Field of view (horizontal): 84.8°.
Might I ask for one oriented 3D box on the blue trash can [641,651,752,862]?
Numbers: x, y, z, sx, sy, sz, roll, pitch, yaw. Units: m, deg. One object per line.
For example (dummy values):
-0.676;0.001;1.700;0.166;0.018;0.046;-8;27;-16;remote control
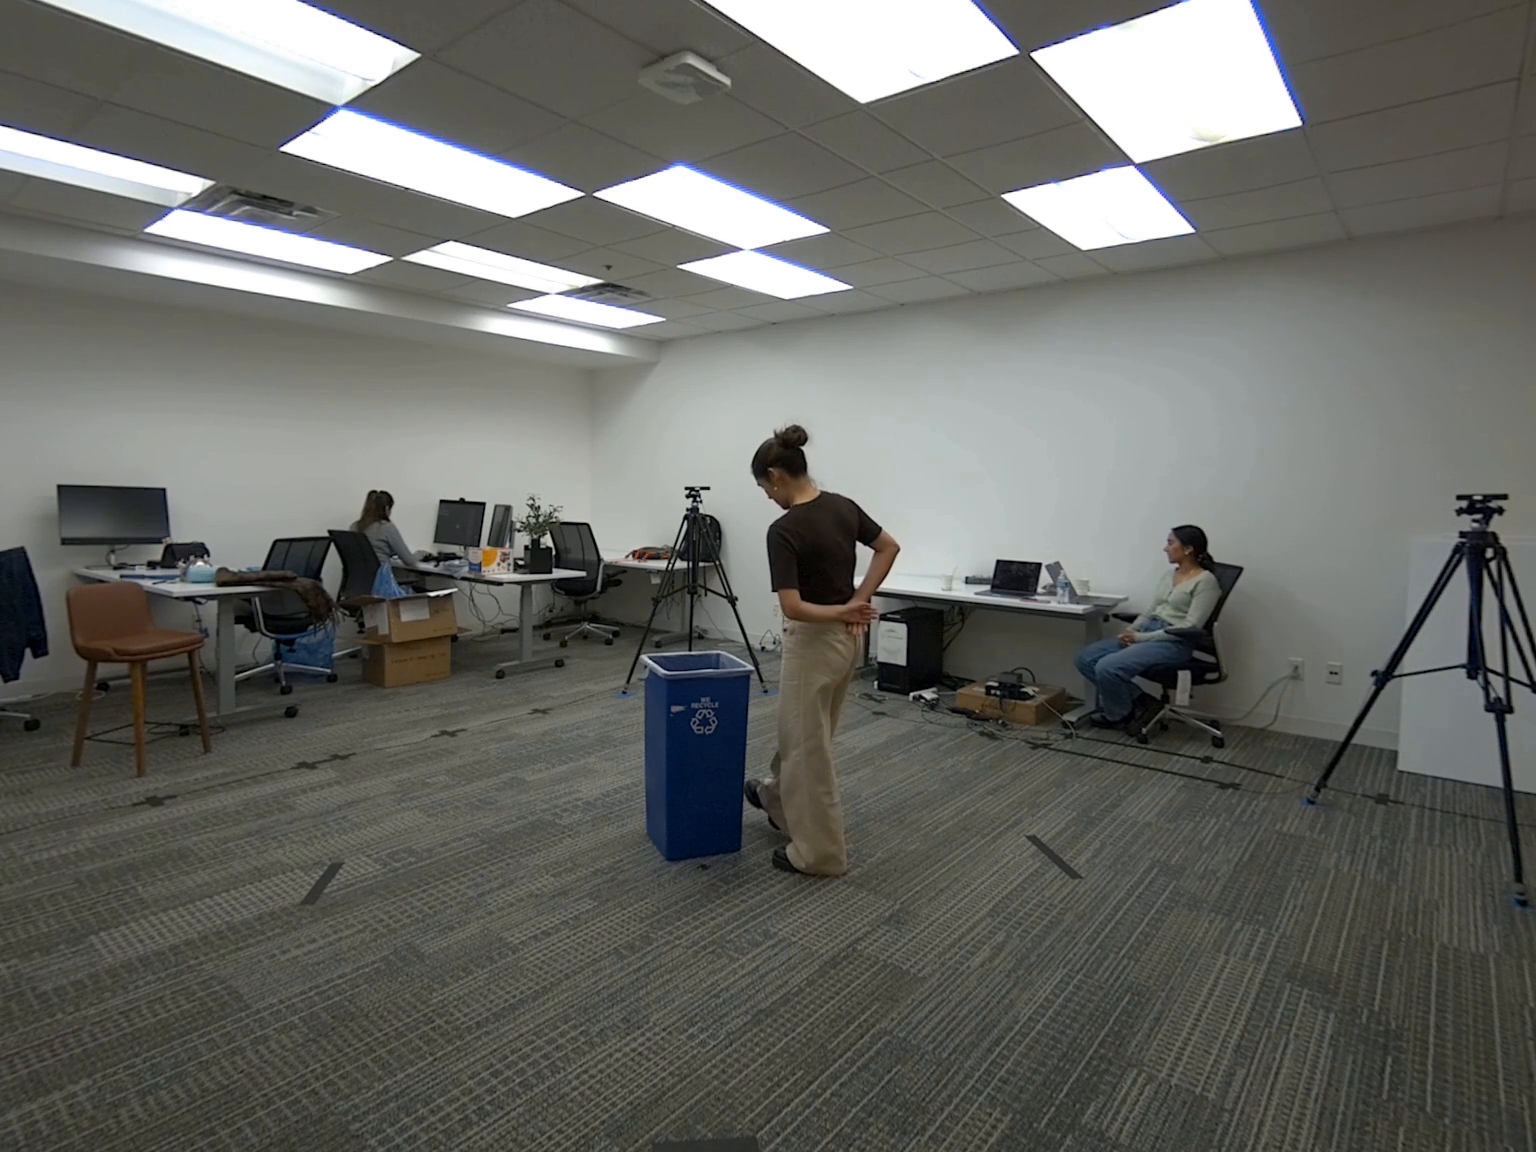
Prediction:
-0.300;0.684;3.325;0.370;0.712;0.383;0;3;-23;blue trash can
